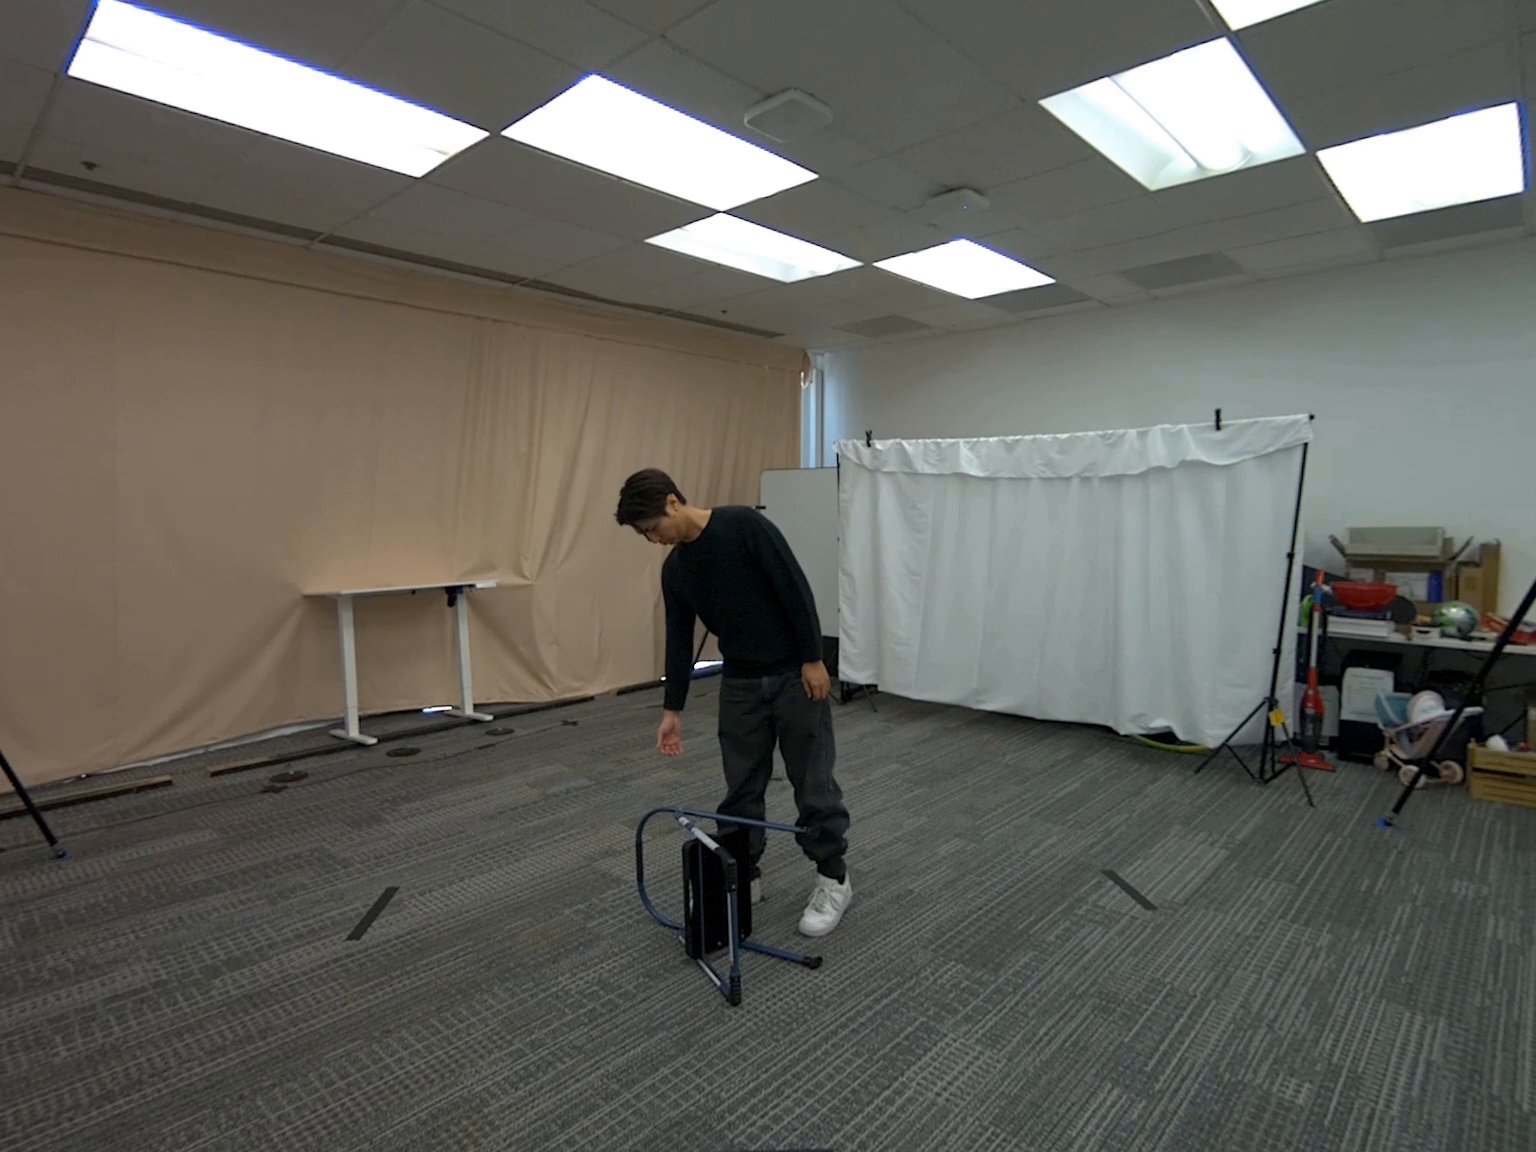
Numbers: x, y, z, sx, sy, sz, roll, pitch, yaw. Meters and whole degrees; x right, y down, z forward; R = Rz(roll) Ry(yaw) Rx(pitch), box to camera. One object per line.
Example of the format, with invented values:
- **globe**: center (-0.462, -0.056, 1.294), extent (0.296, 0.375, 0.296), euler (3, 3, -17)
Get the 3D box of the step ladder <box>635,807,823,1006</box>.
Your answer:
- **step ladder**: center (-0.174, 0.965, 2.654), extent (0.339, 0.430, 0.626), euler (-4, 4, -42)
